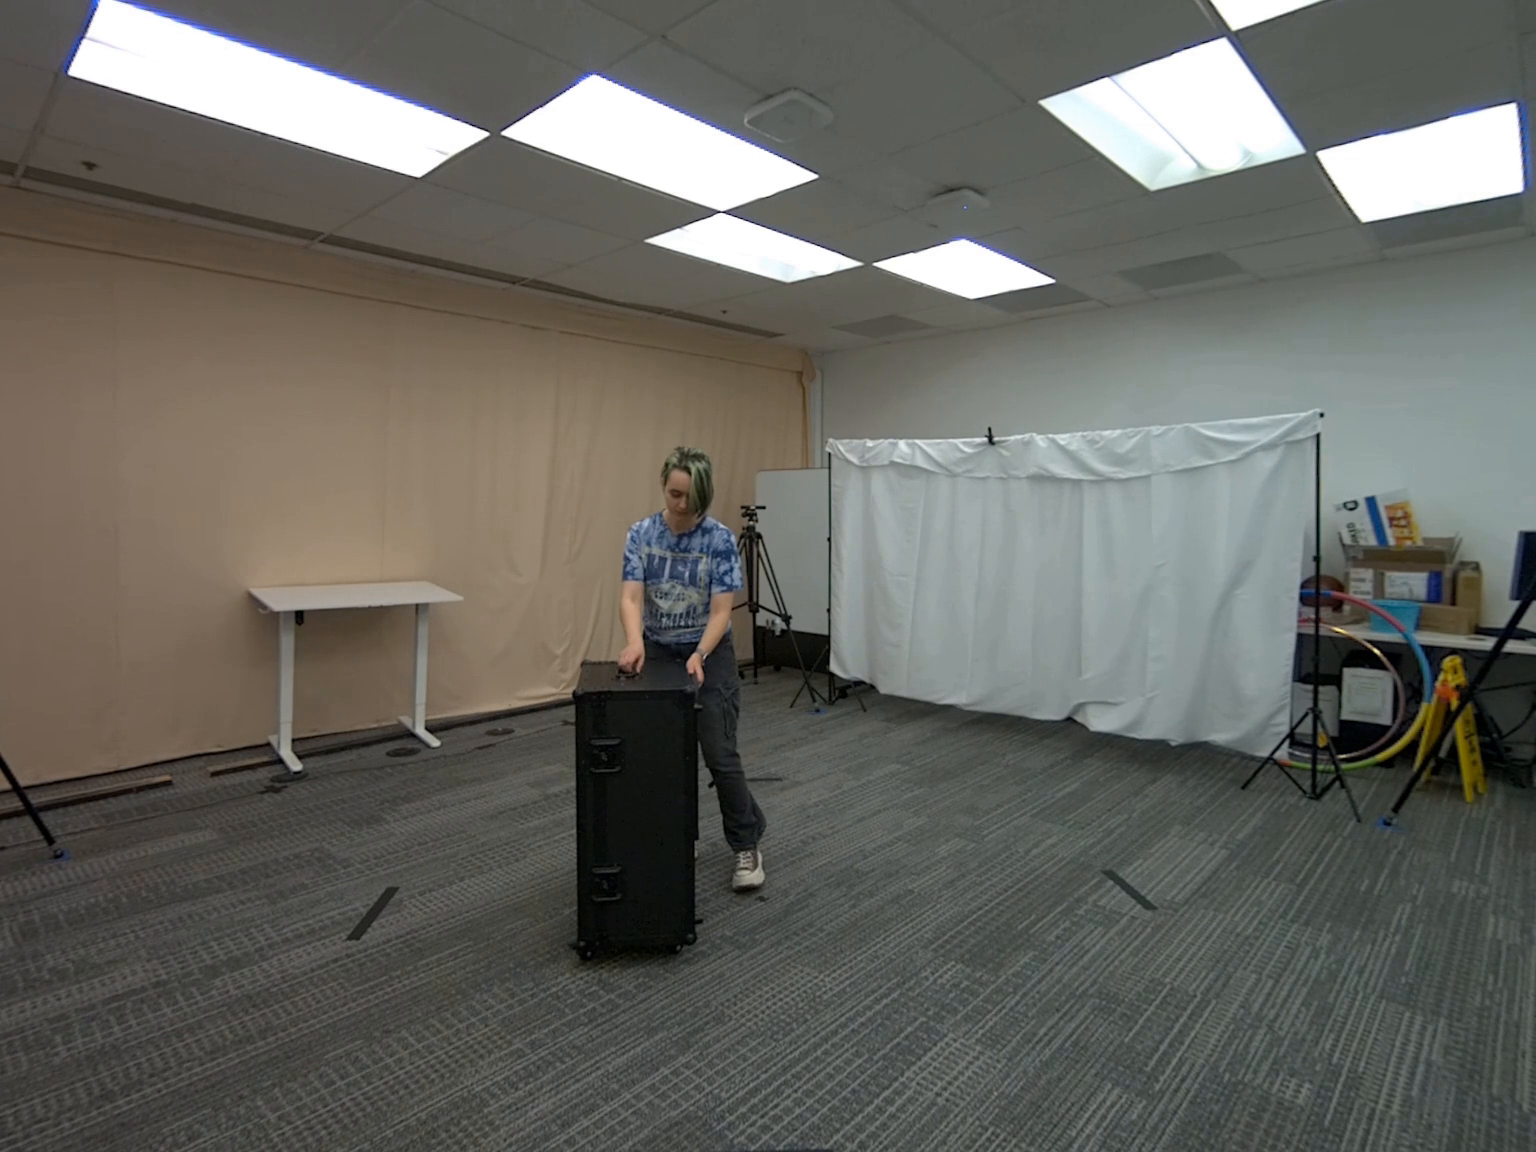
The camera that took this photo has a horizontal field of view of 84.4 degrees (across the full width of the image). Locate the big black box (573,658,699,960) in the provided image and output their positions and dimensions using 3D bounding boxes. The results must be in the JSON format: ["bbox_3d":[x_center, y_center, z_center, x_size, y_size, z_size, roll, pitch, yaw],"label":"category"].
[{"bbox_3d":[-0.437,0.749,2.739,0.394,0.860,0.525,0,3,-6],"label":"big black box"}]
